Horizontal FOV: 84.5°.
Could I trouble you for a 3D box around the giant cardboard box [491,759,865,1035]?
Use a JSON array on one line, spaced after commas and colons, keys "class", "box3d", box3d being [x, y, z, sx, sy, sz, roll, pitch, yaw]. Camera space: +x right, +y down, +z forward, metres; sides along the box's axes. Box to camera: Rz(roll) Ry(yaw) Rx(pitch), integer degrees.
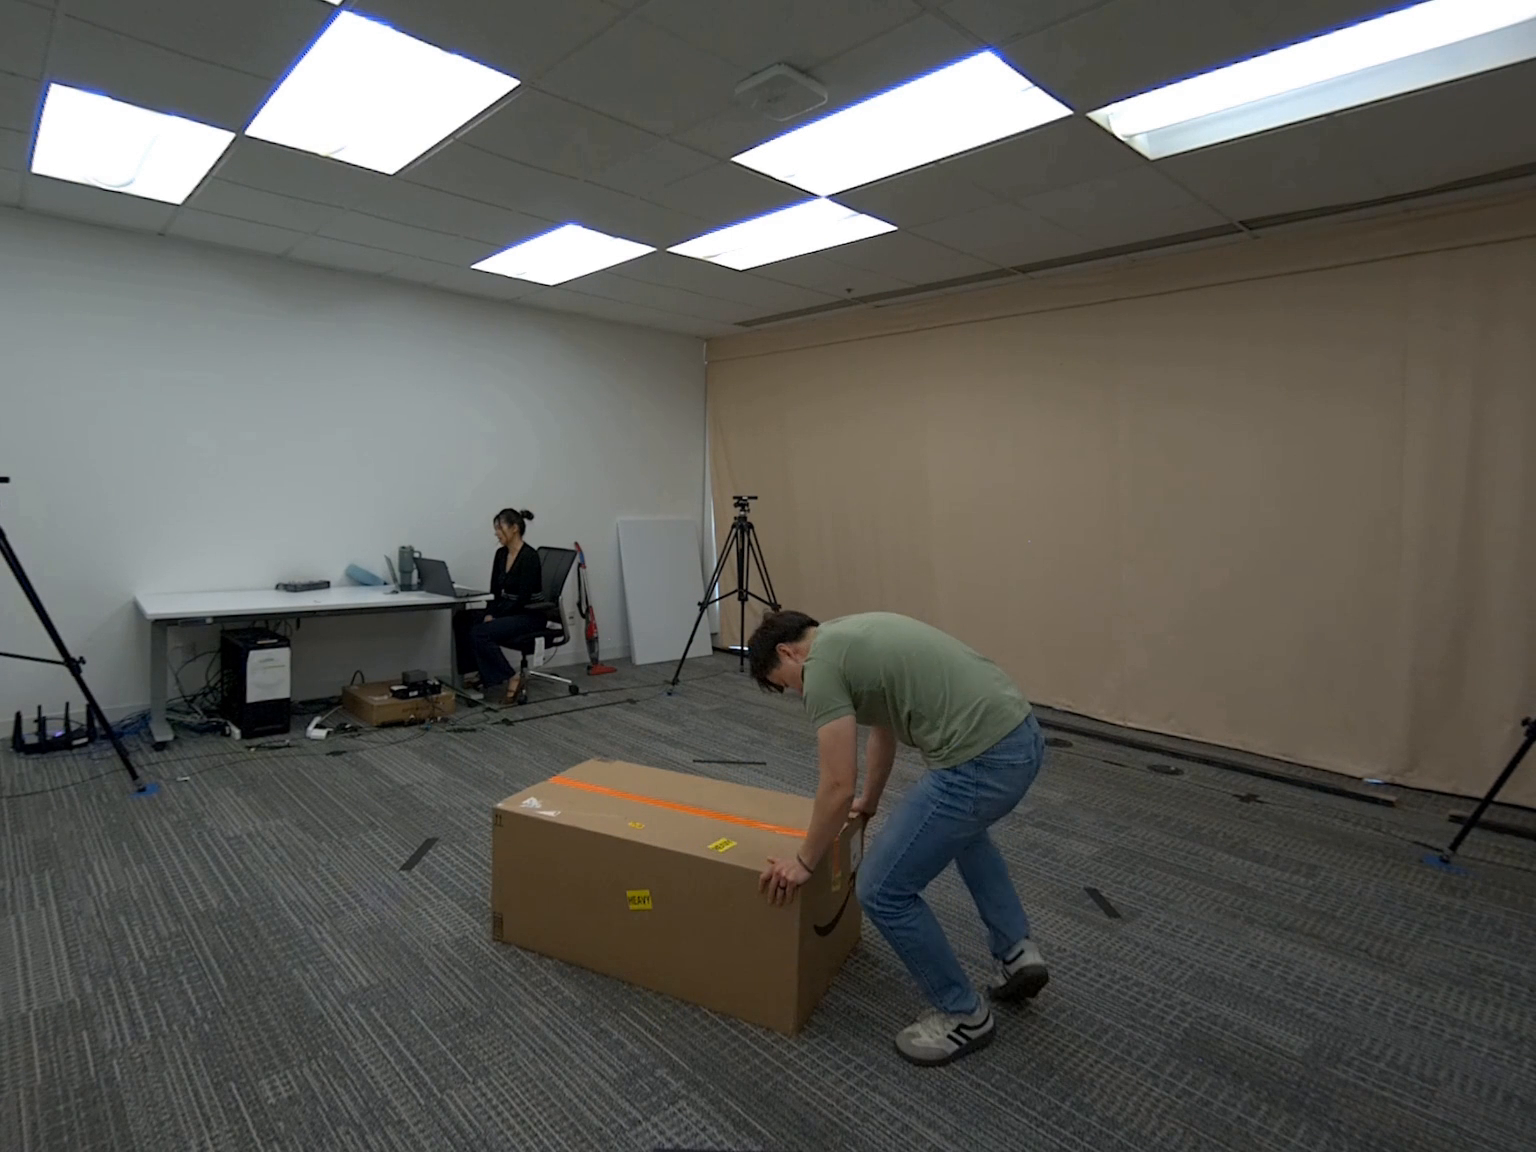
[{"class": "giant cardboard box", "box3d": [-0.285, 0.933, 2.642, 1.046, 0.425, 0.568, 4, 6, 25]}]
